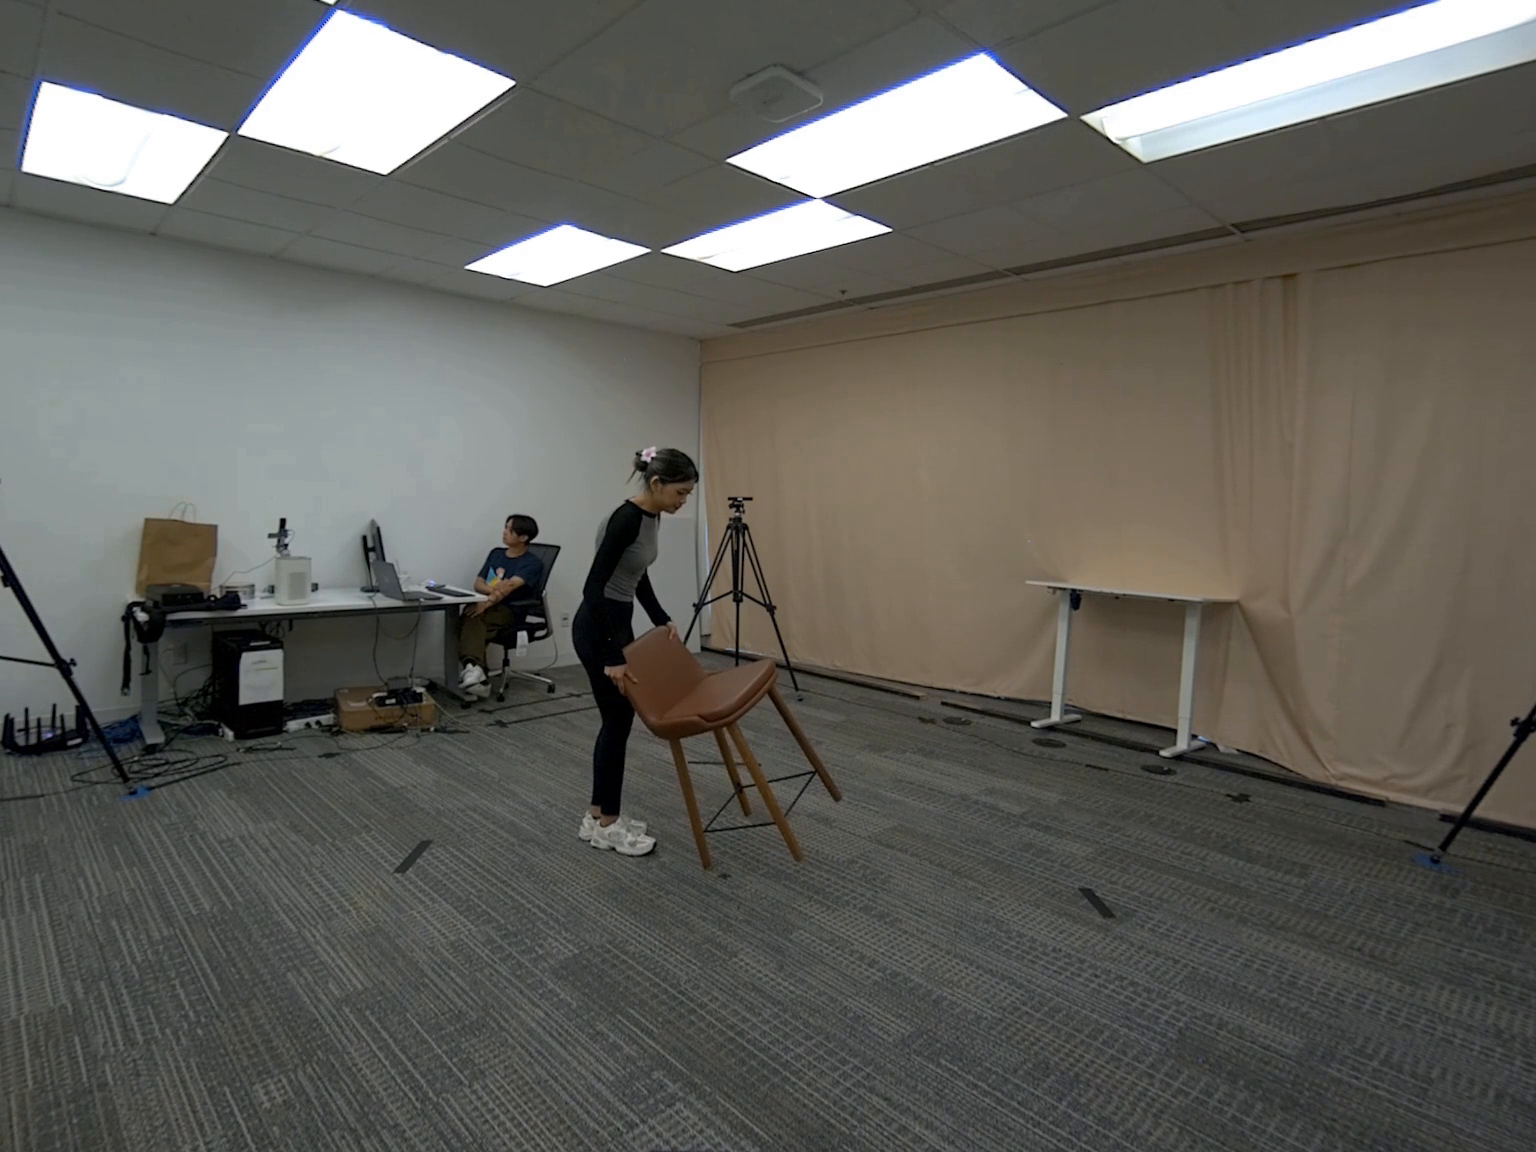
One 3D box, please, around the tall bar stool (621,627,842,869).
[{"bbox_3d":[-0.164,0.592,3.150,0.473,0.886,0.453,-22,6,34],"label":"tall bar stool"}]
